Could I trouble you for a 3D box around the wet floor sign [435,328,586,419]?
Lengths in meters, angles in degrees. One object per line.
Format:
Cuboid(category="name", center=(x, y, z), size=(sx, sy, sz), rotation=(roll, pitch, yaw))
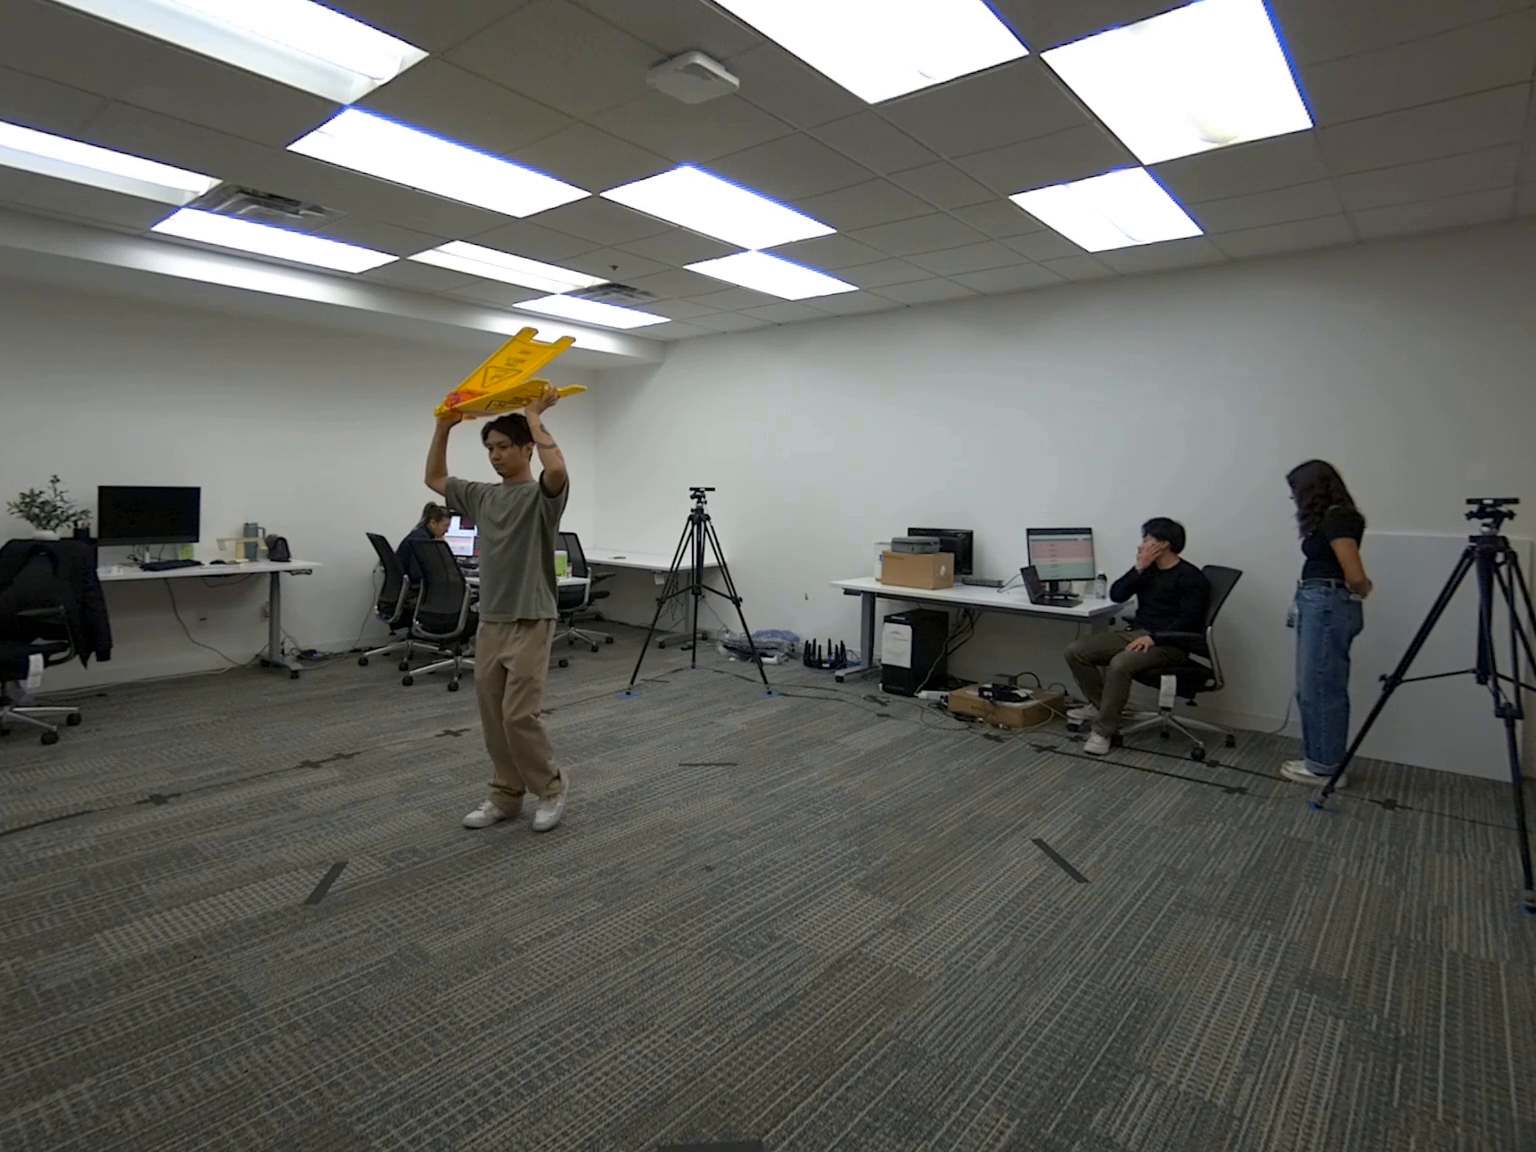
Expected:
Cuboid(category="wet floor sign", center=(-1.088, -0.754, 3.405), size=(0.659, 0.292, 0.274), rotation=(-15, -7, 32))
